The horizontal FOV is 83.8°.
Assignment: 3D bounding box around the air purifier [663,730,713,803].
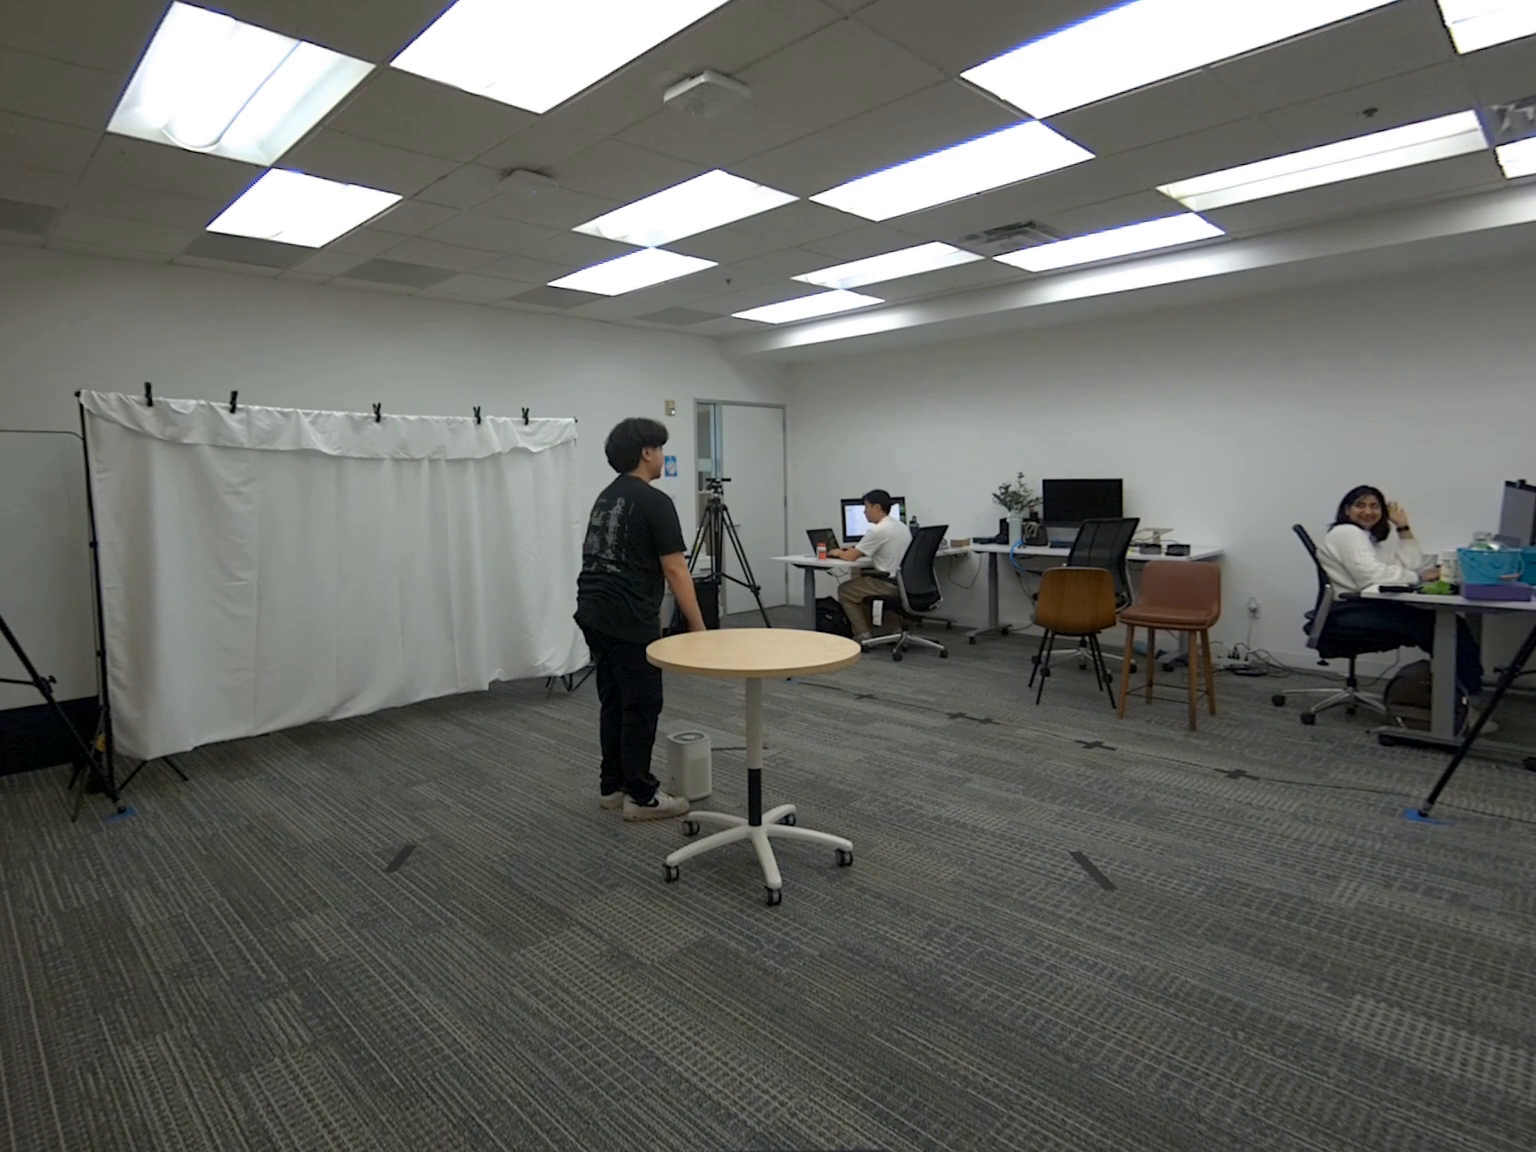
[{"bbox_3d":[-0.345,0.839,3.780,0.167,0.264,0.176,-2,5,-36],"label":"air purifier"}]
